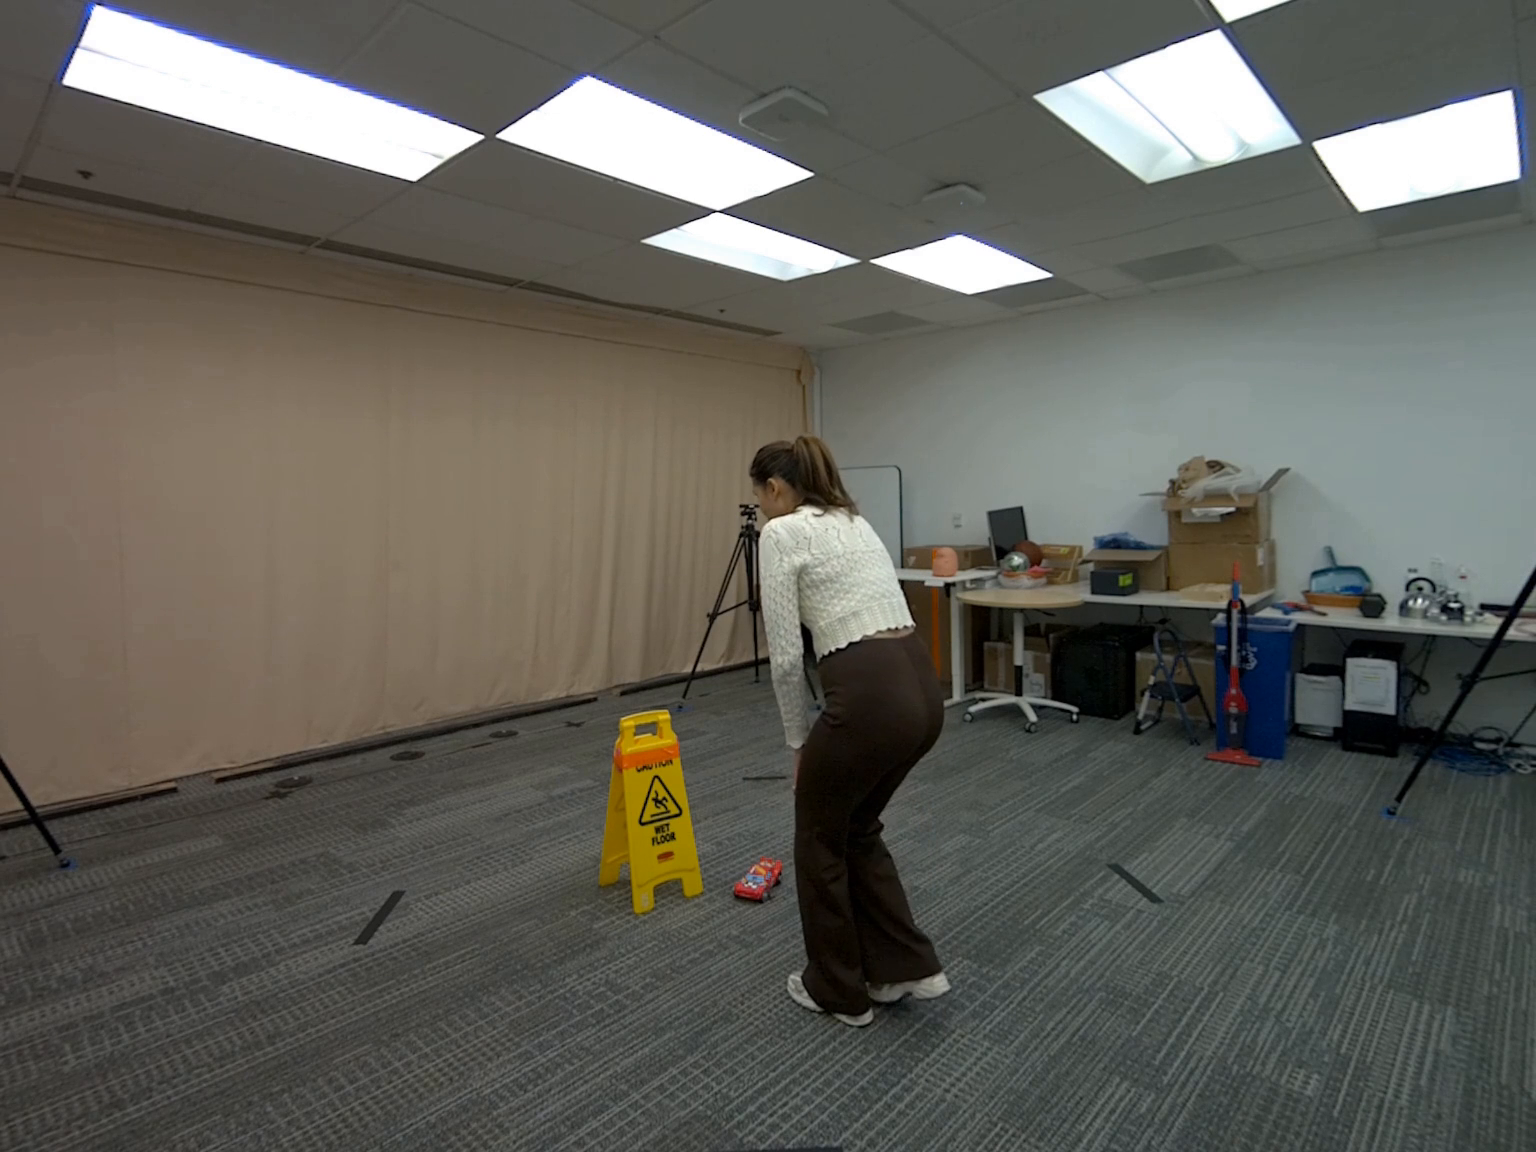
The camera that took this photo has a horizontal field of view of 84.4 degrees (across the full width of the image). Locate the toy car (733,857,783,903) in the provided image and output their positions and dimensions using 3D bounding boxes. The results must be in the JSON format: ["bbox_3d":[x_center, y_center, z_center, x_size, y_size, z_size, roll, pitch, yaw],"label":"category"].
[{"bbox_3d":[-0.025,1.102,3.051,0.133,0.082,0.251,0,15,23],"label":"toy car"}]
